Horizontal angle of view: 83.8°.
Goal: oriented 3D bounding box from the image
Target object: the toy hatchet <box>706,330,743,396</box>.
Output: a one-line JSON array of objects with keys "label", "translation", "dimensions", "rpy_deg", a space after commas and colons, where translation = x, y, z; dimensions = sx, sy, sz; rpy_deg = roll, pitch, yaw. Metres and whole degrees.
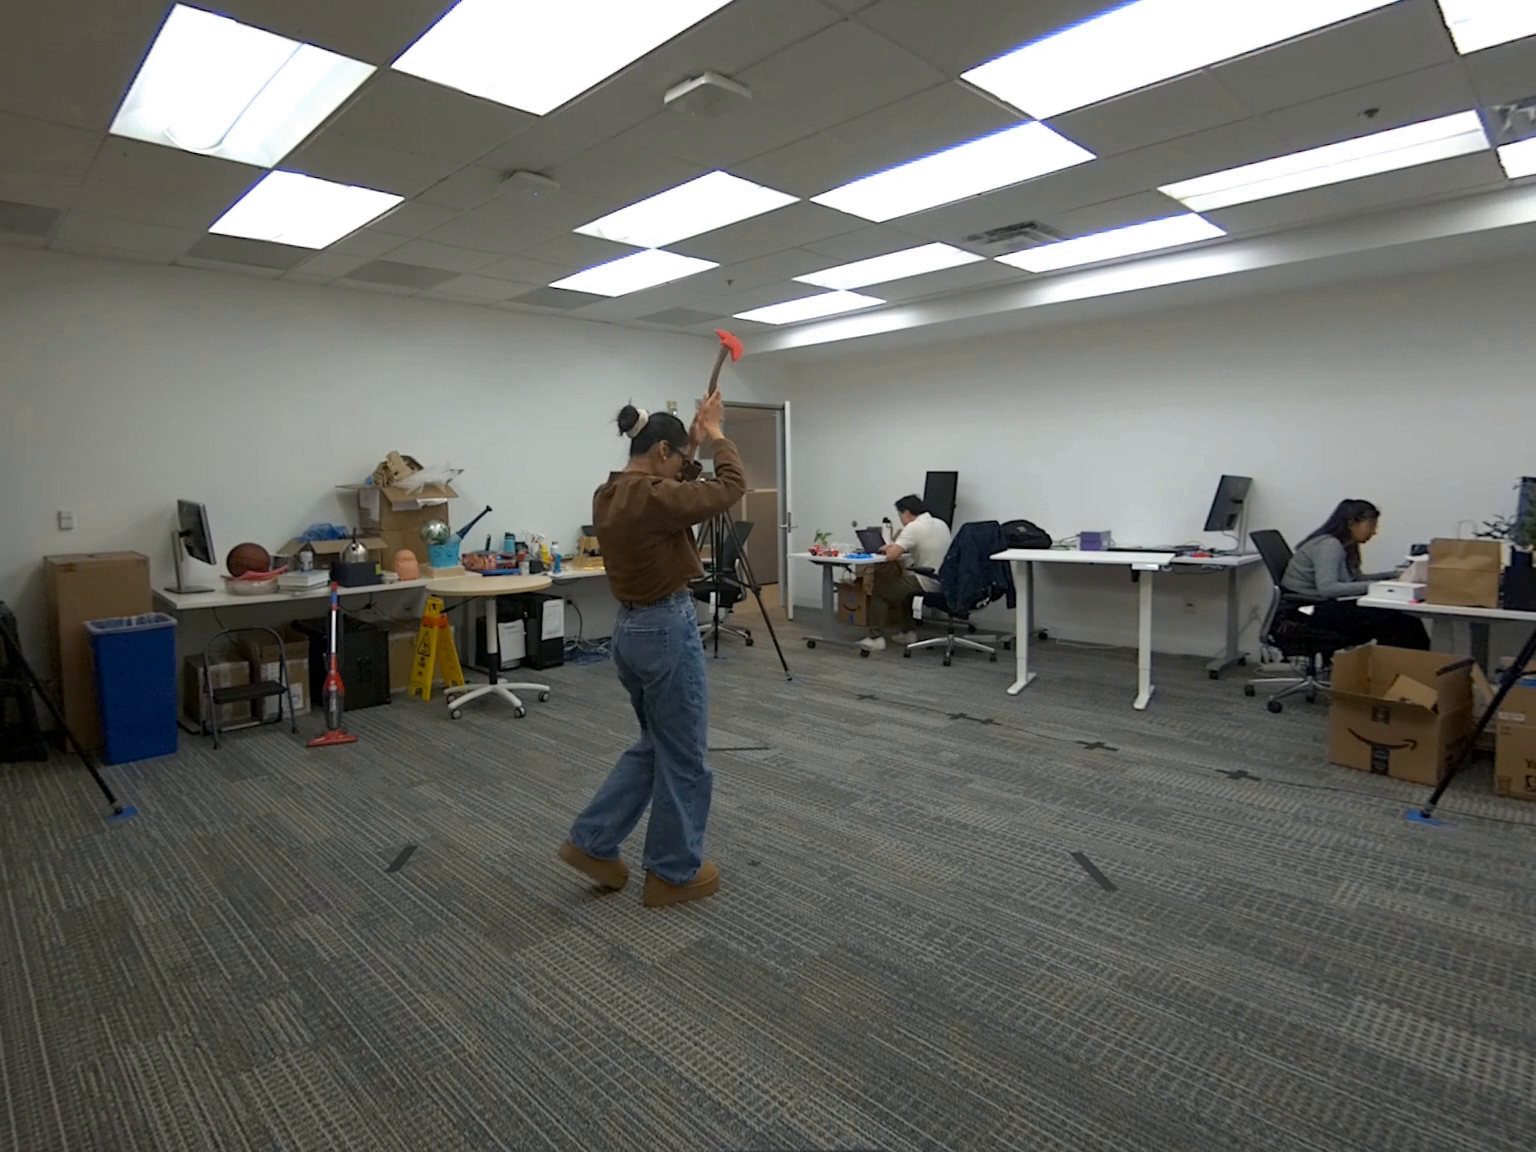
[{"label": "toy hatchet", "translation": [-0.140, -0.703, 2.904], "dimensions": [0.127, 0.269, 0.030], "rpy_deg": [6, 3, -43]}]
